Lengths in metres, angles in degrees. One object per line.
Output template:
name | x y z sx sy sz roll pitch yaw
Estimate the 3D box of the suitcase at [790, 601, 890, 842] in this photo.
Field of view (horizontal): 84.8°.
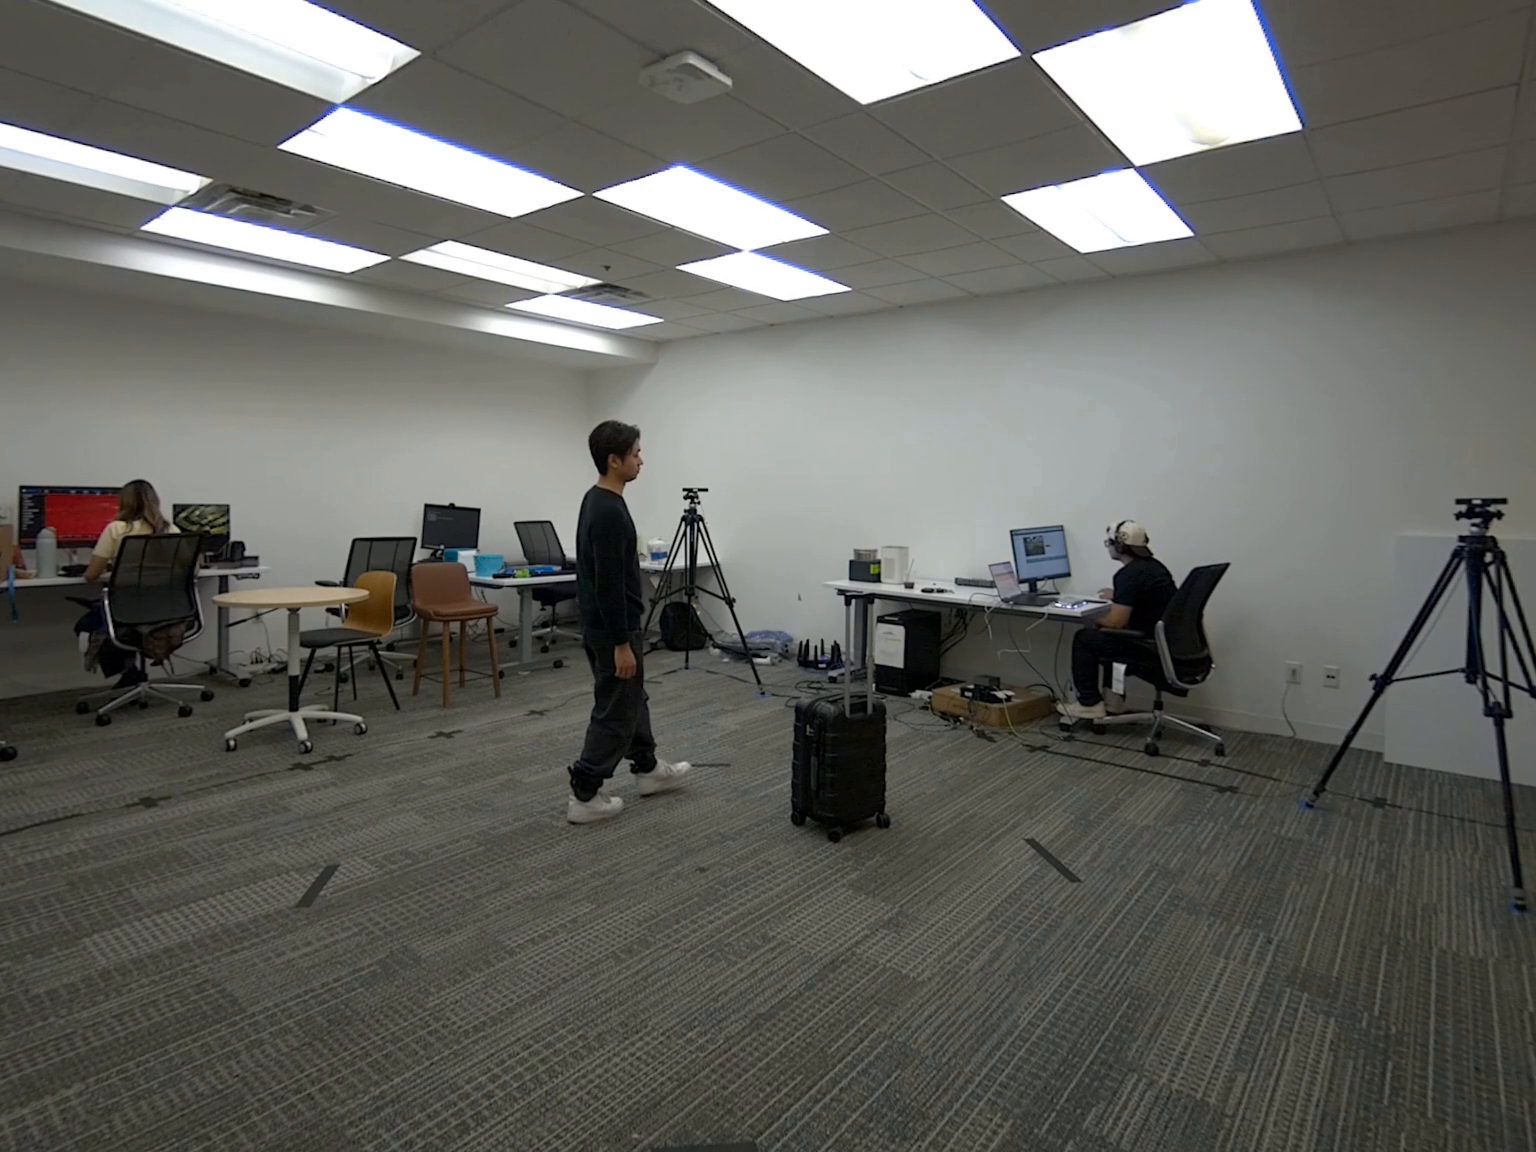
suitcase | 0.292 0.560 3.554 0.373 0.978 0.265 -1 0 -36
